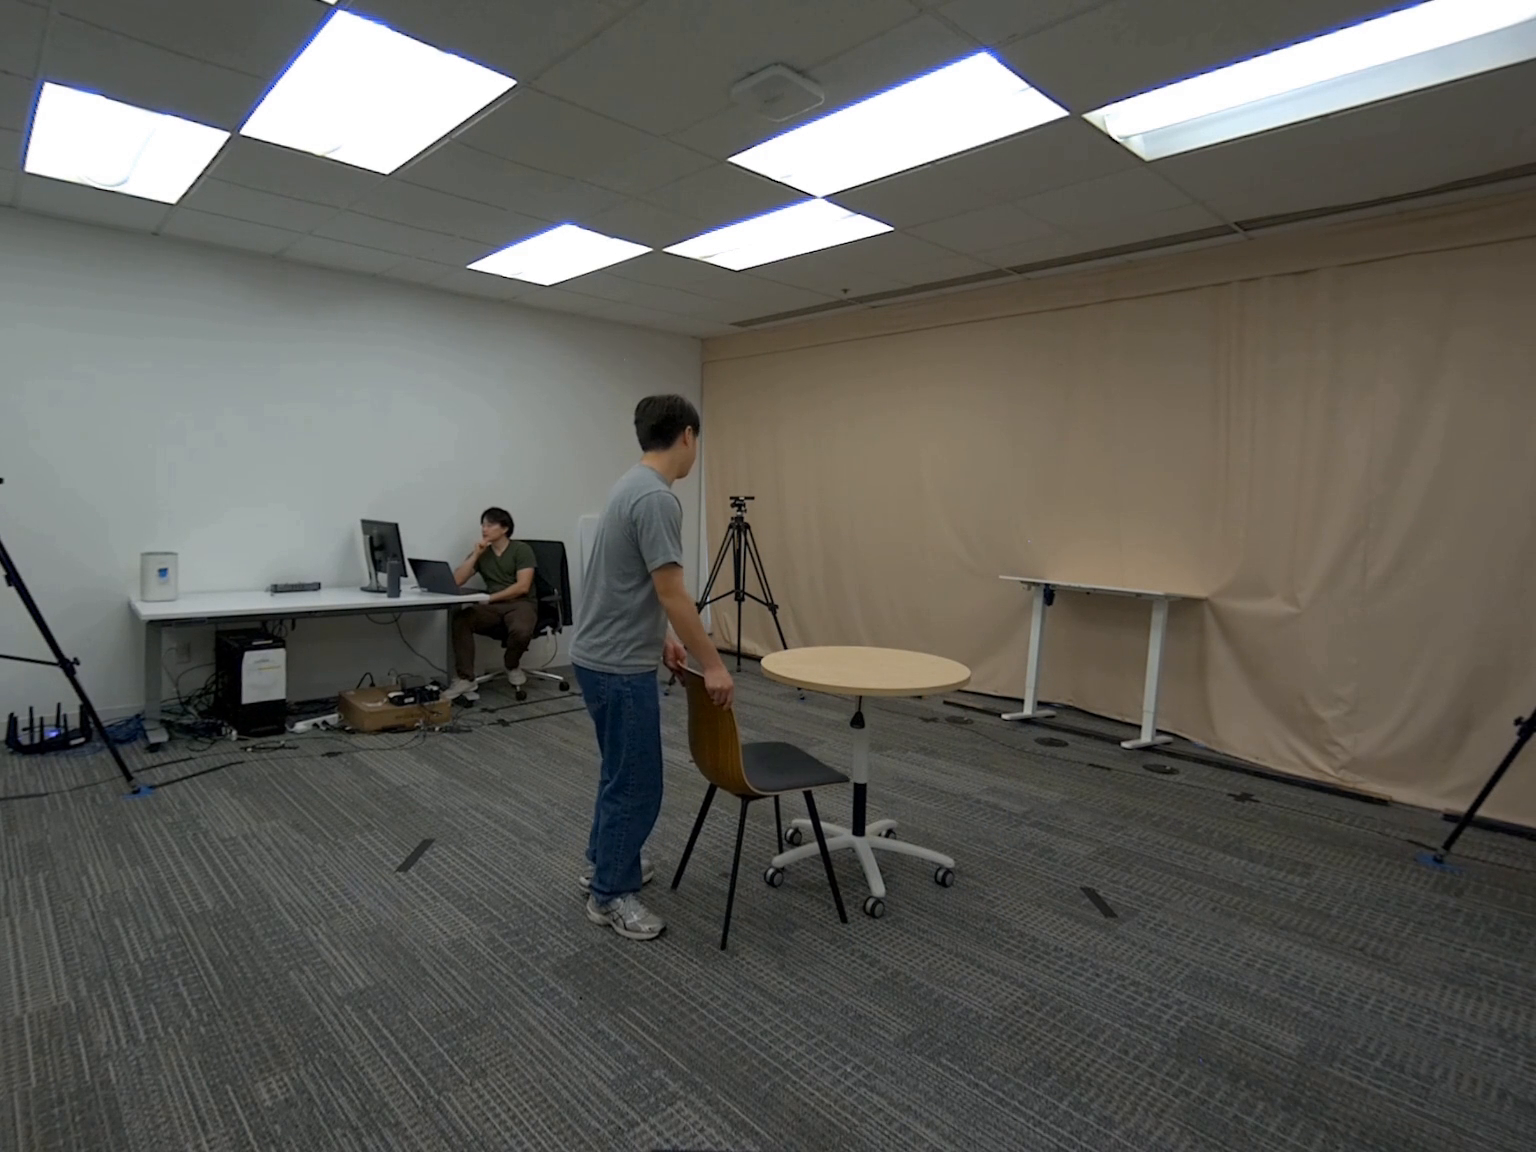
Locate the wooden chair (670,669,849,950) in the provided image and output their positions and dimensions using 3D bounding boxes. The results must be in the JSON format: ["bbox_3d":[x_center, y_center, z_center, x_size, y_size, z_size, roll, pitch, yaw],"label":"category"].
[{"bbox_3d":[-0.033,0.700,2.849,0.514,0.874,0.488,-5,5,-26],"label":"wooden chair"}]
